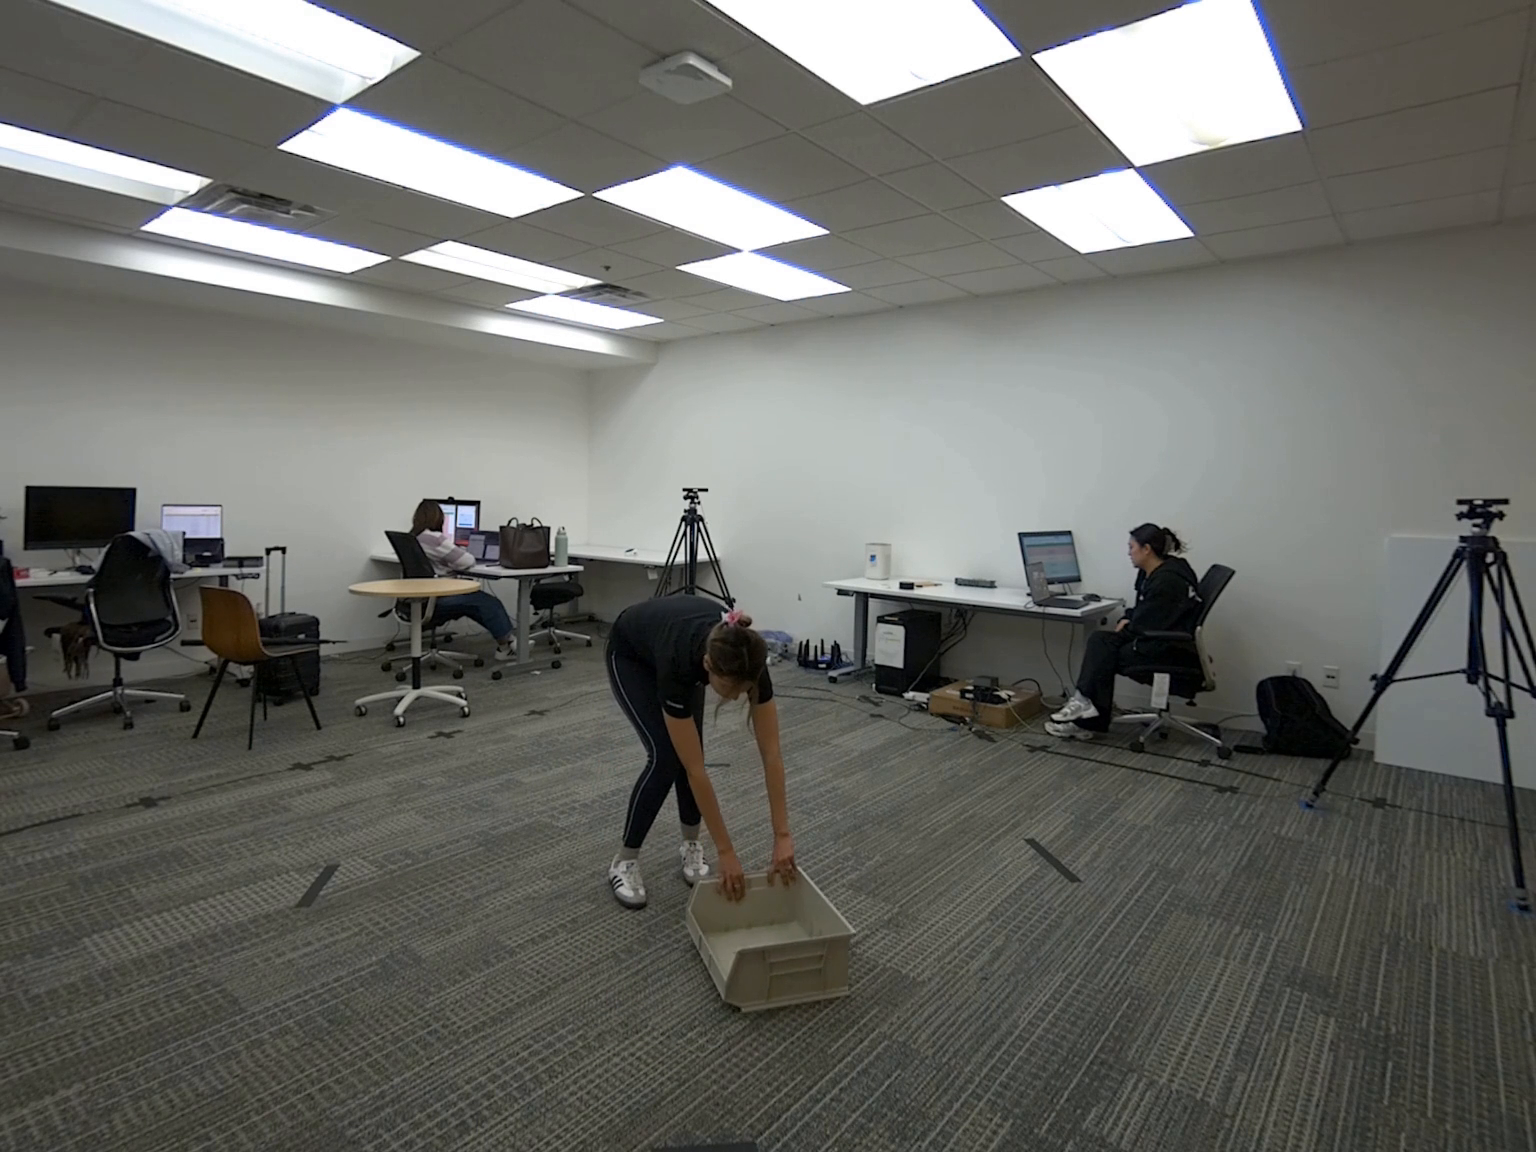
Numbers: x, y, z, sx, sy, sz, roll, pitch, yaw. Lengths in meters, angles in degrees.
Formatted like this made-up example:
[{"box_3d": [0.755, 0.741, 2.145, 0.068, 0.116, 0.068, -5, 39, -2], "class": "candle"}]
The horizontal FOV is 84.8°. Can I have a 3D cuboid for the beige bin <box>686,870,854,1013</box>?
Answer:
[{"box_3d": [-0.013, 1.043, 2.487, 0.370, 0.188, 0.431, 0, 3, -19], "class": "beige bin"}]
